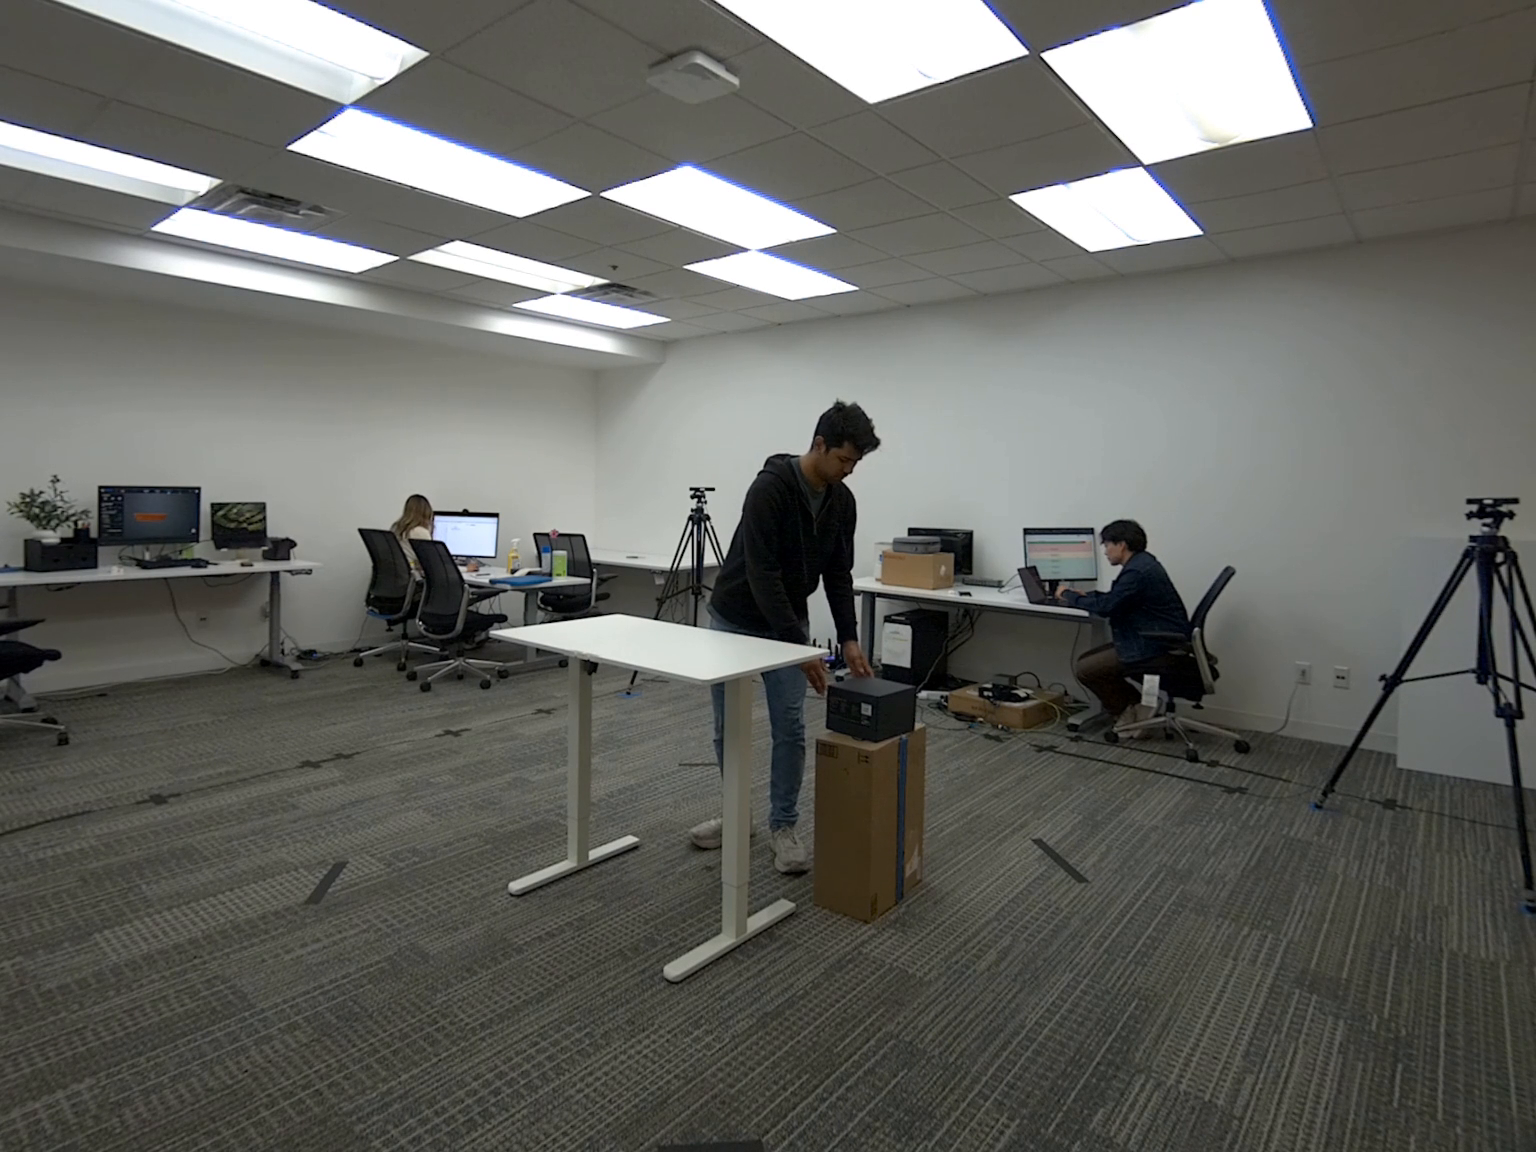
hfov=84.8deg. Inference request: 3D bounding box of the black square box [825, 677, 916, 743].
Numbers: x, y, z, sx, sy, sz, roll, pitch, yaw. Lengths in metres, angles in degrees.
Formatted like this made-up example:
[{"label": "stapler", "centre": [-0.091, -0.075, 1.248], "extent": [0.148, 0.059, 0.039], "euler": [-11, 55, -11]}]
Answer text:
[{"label": "black square box", "centre": [0.346, 0.449, 2.938], "extent": [0.224, 0.155, 0.221], "euler": [5, 7, 43]}]
